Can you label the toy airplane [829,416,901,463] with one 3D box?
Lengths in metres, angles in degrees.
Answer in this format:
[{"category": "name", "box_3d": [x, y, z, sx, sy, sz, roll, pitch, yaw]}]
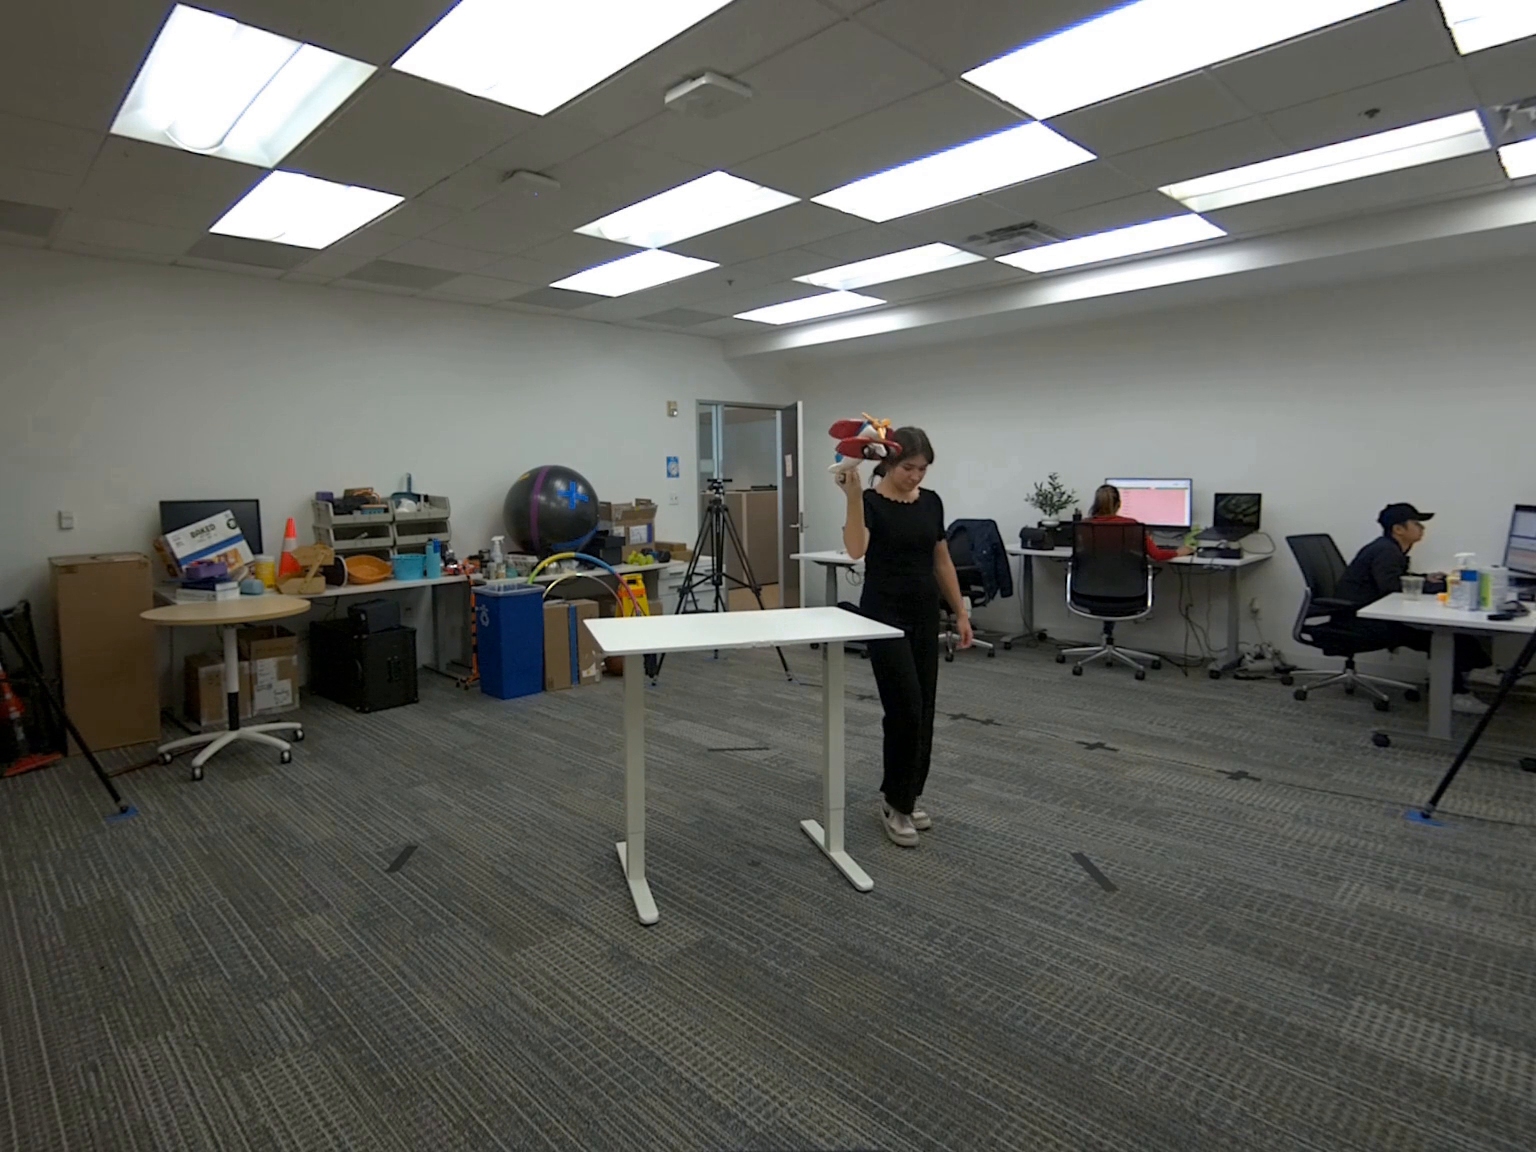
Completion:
[{"category": "toy airplane", "box_3d": [0.305, -0.426, 2.908, 0.263, 0.159, 0.242, -18, -22, 28]}]
